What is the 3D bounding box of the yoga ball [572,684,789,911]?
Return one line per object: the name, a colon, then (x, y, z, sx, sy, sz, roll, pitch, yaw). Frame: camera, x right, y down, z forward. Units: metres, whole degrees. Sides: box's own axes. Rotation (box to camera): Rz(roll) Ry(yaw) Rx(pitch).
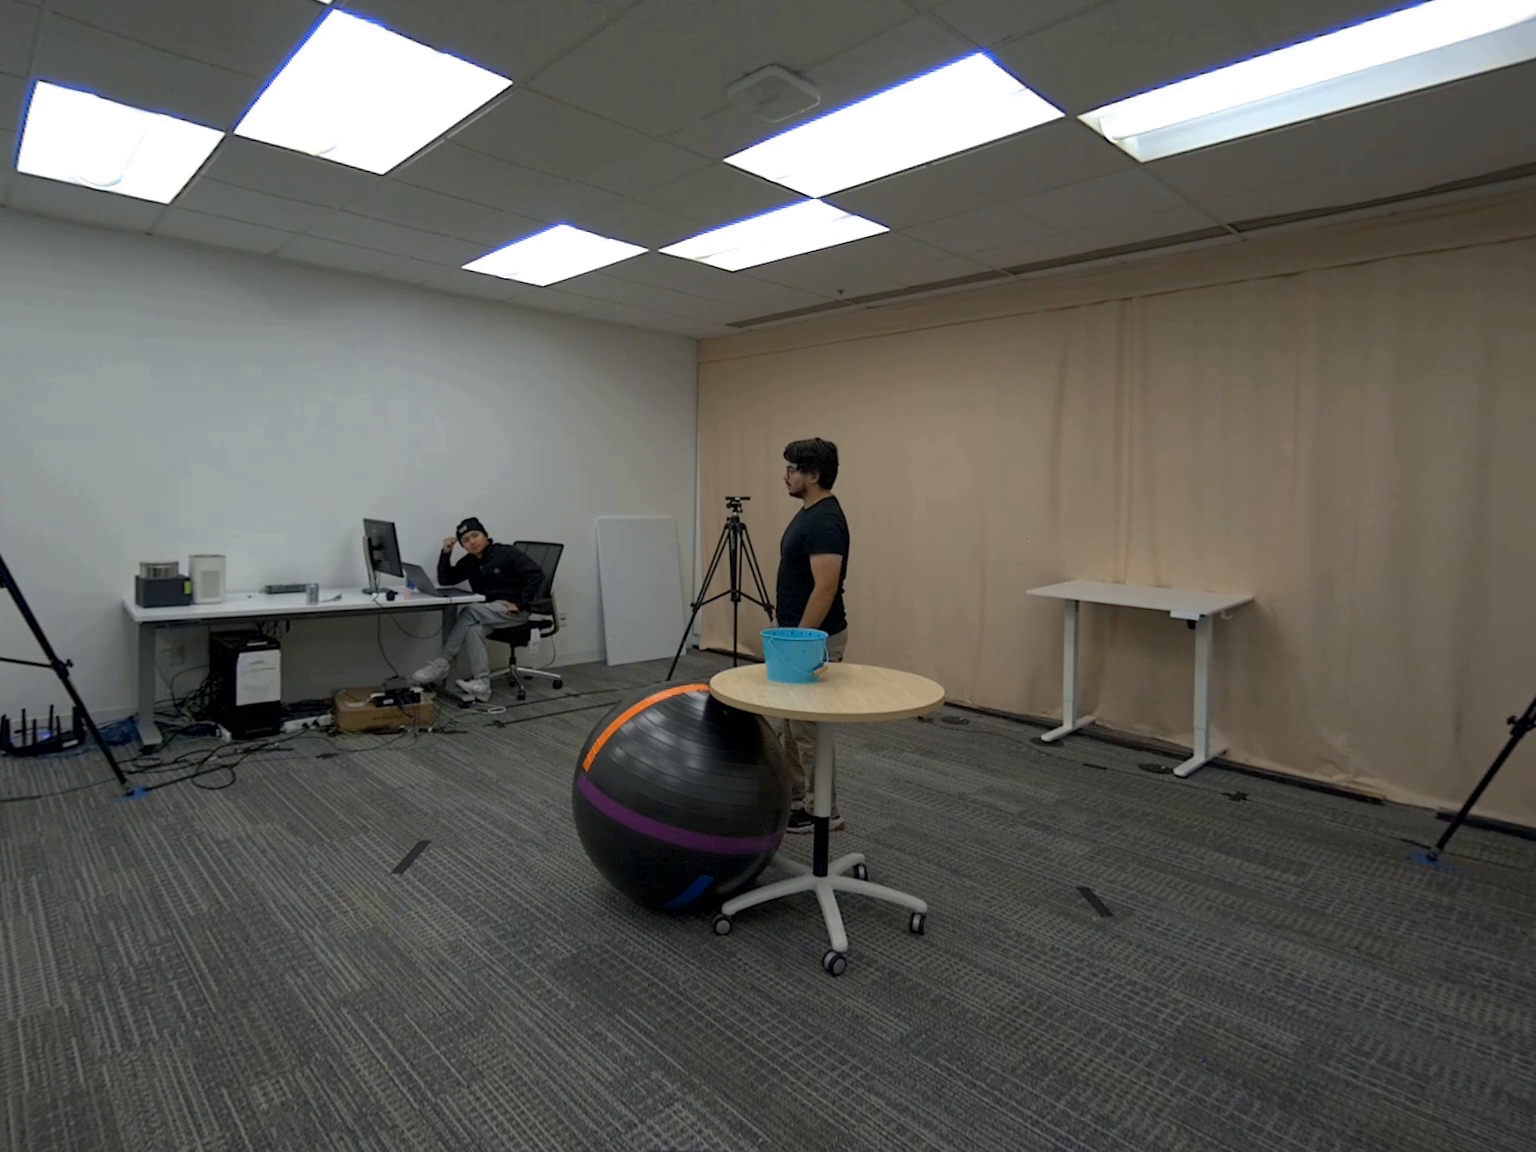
yoga ball: (-0.310, 0.749, 2.934, 0.757, 0.756, 0.761, 1, 4, -1)
